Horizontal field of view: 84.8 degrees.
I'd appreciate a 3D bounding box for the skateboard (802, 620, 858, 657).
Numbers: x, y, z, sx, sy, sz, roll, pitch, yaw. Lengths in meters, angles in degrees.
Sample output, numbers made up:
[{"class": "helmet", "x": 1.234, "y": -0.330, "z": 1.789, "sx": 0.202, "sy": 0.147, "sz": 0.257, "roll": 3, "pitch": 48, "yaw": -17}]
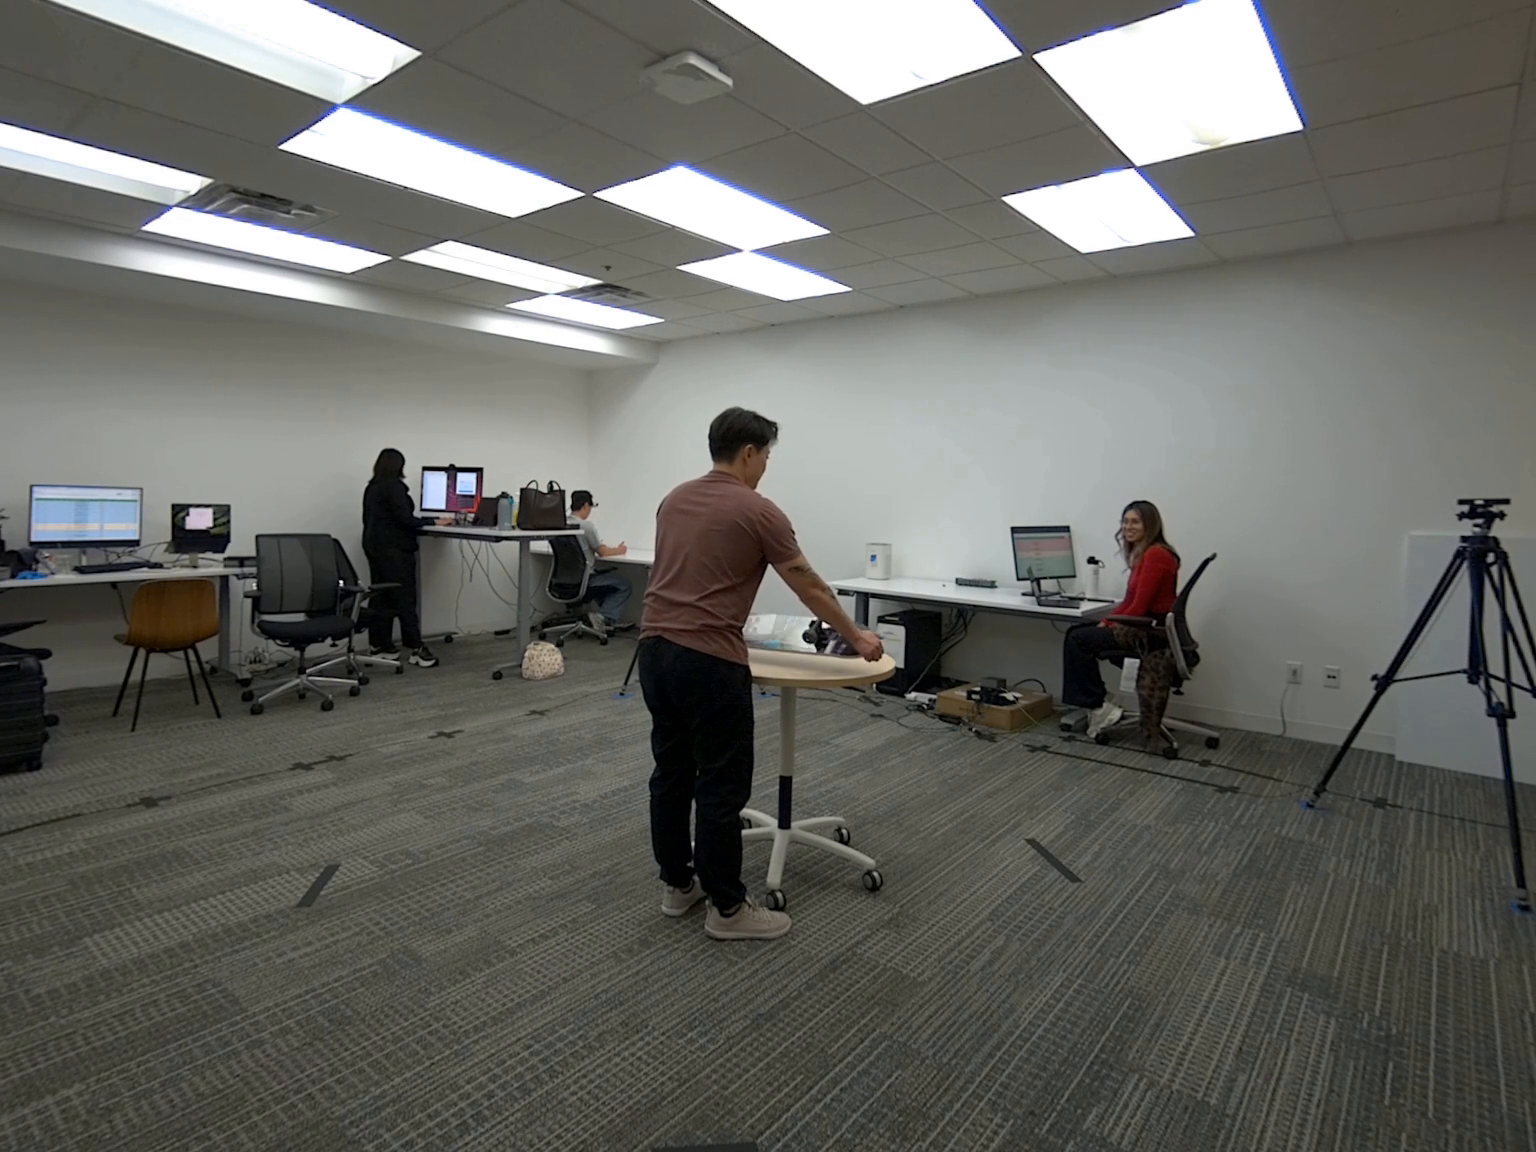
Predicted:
[{"class": "skateboard", "x": -0.007, "y": 0.171, "z": 3.042, "sx": 0.809, "sy": 0.107, "sz": 0.193, "roll": 3, "pitch": 30, "yaw": 31}]
